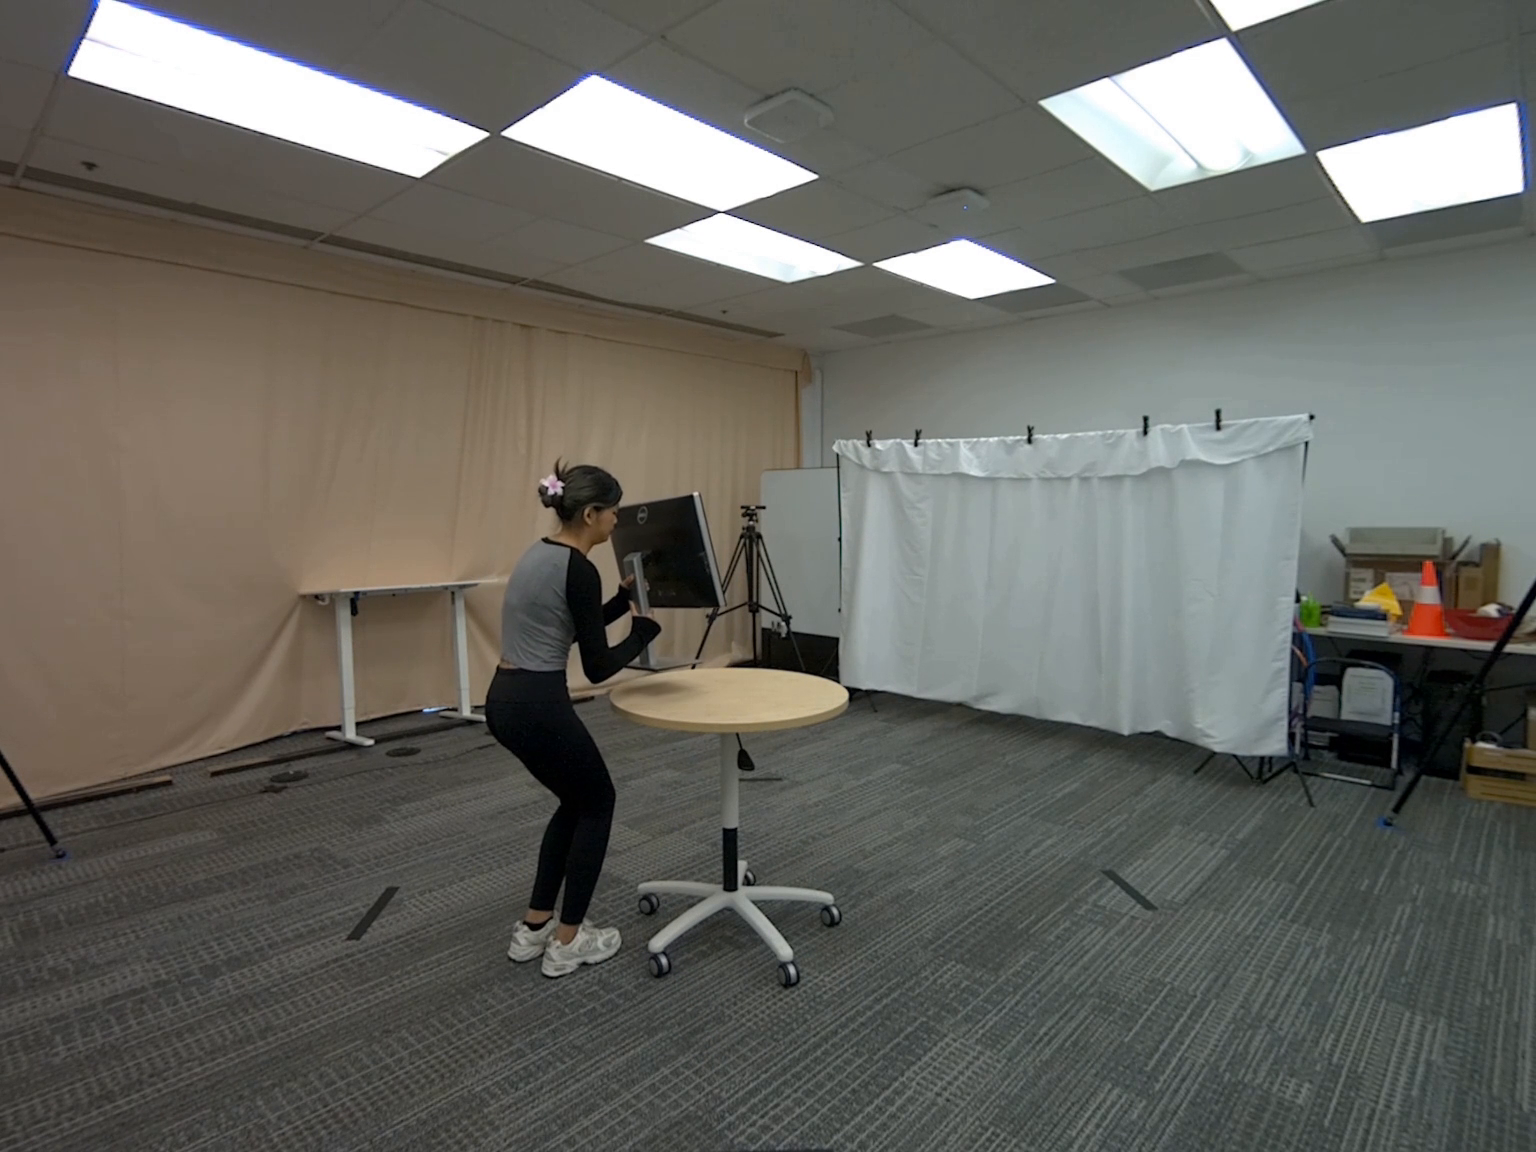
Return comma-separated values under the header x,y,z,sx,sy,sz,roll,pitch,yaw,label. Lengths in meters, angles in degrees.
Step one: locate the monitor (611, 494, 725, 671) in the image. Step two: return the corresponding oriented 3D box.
x,y,z,sx,sy,sz,roll,pitch,yaw,label
-0.368,0.022,2.754,0.181,0.523,0.555,-2,-1,-40,monitor
